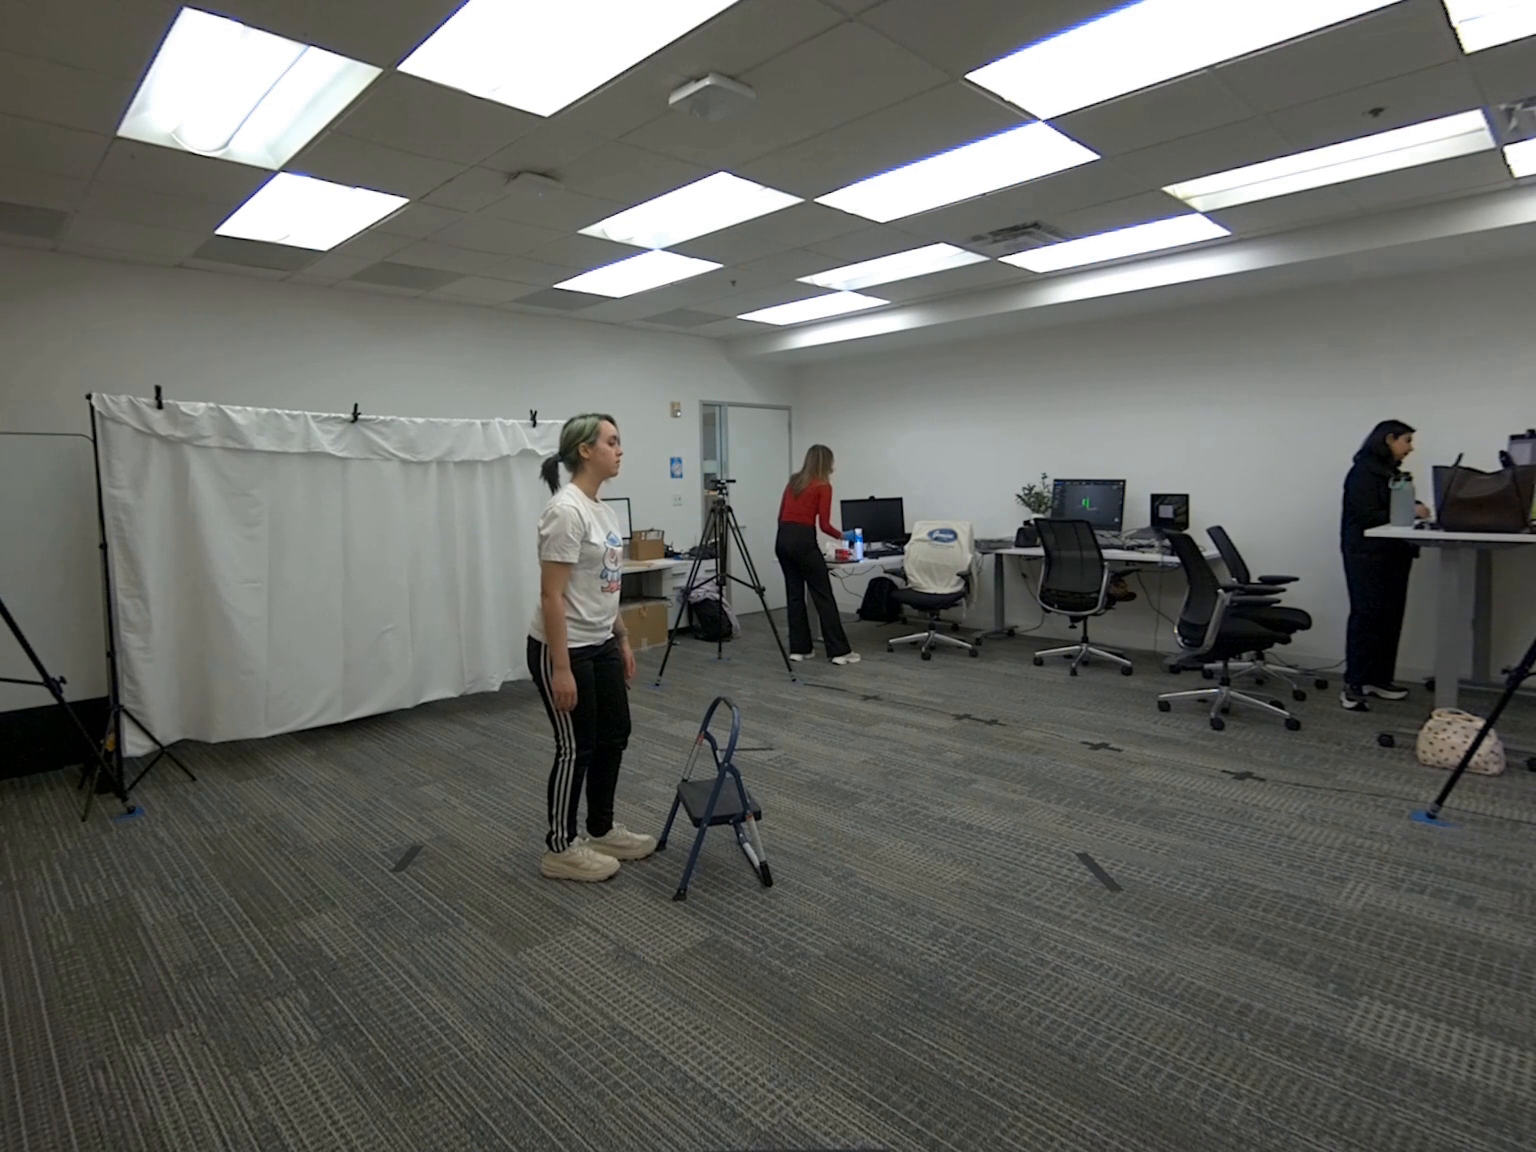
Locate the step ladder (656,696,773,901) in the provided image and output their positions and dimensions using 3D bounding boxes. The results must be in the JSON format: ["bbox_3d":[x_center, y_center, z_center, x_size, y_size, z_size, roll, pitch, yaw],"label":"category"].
[{"bbox_3d":[-0.209,0.754,3.070,0.344,0.603,0.438,-3,5,-15],"label":"step ladder"}]
